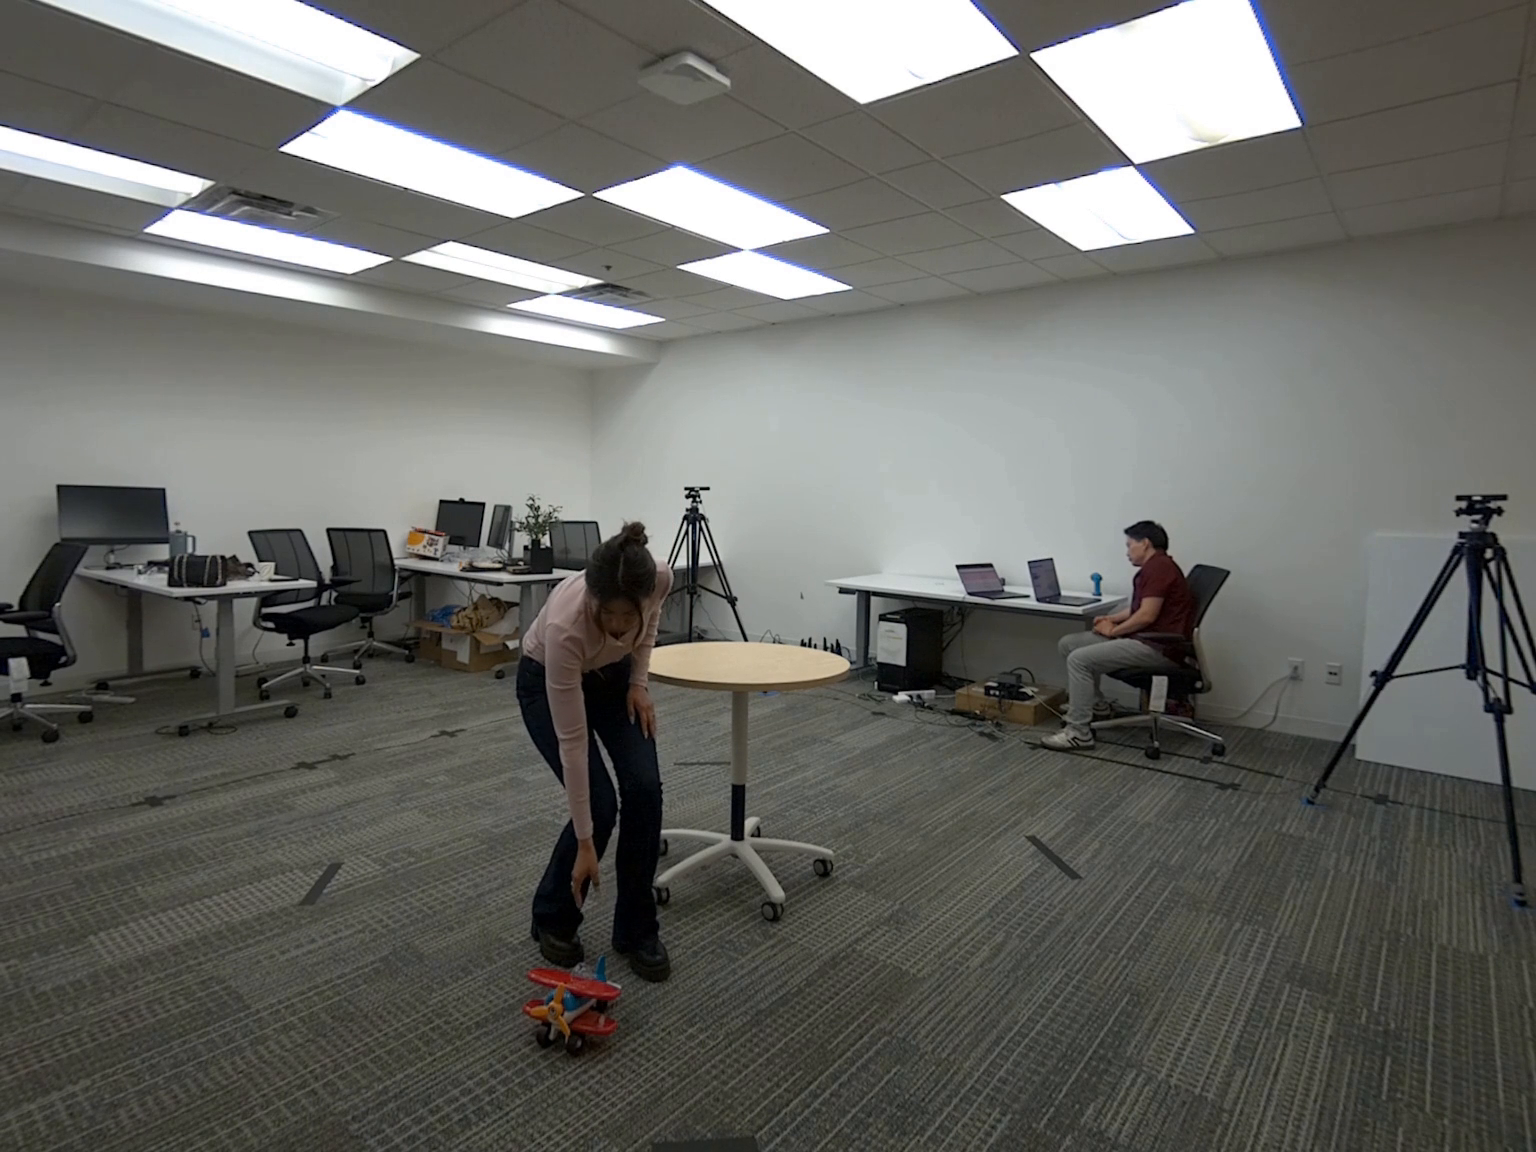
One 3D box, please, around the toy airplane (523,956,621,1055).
[{"bbox_3d":[-0.509,1.081,2.183,0.249,0.156,0.263,0,6,-9],"label":"toy airplane"}]
